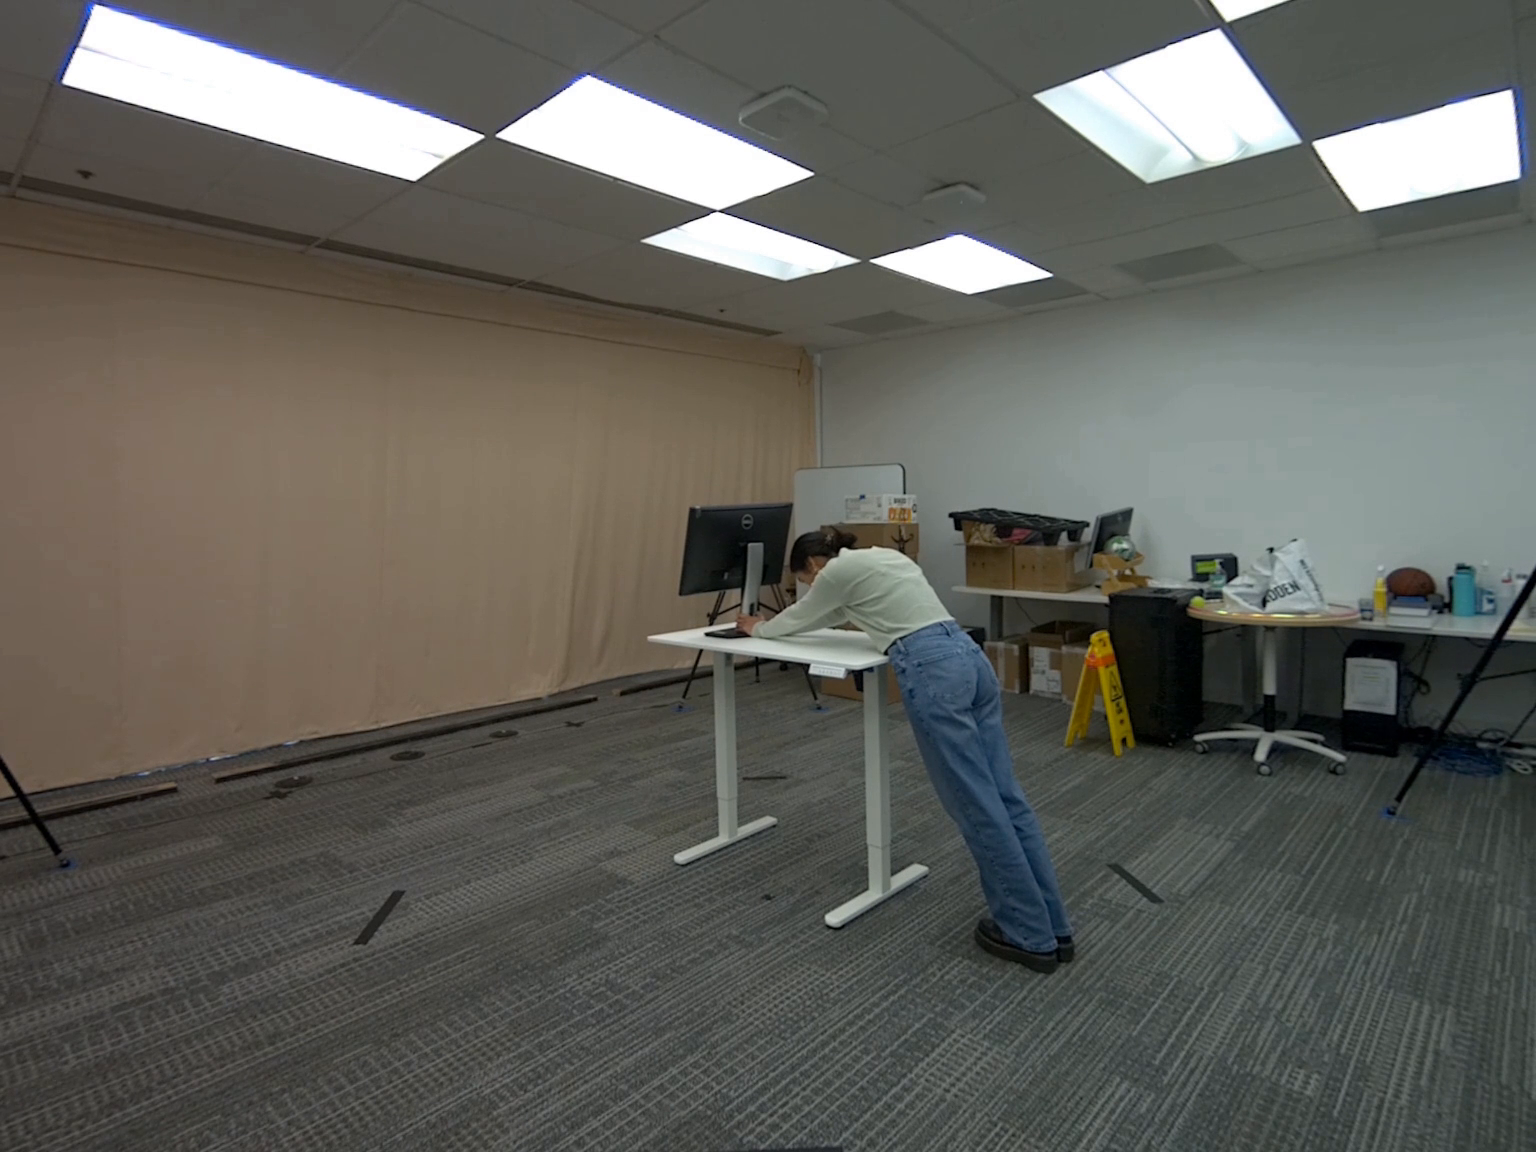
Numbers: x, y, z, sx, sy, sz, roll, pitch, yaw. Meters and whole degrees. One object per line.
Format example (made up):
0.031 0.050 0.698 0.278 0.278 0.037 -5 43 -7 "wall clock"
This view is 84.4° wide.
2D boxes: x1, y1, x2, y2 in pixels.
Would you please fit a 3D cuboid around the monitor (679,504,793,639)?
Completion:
-0.101 -0.022 3.336 0.523 0.521 0.193 -6 8 -43 "monitor"
